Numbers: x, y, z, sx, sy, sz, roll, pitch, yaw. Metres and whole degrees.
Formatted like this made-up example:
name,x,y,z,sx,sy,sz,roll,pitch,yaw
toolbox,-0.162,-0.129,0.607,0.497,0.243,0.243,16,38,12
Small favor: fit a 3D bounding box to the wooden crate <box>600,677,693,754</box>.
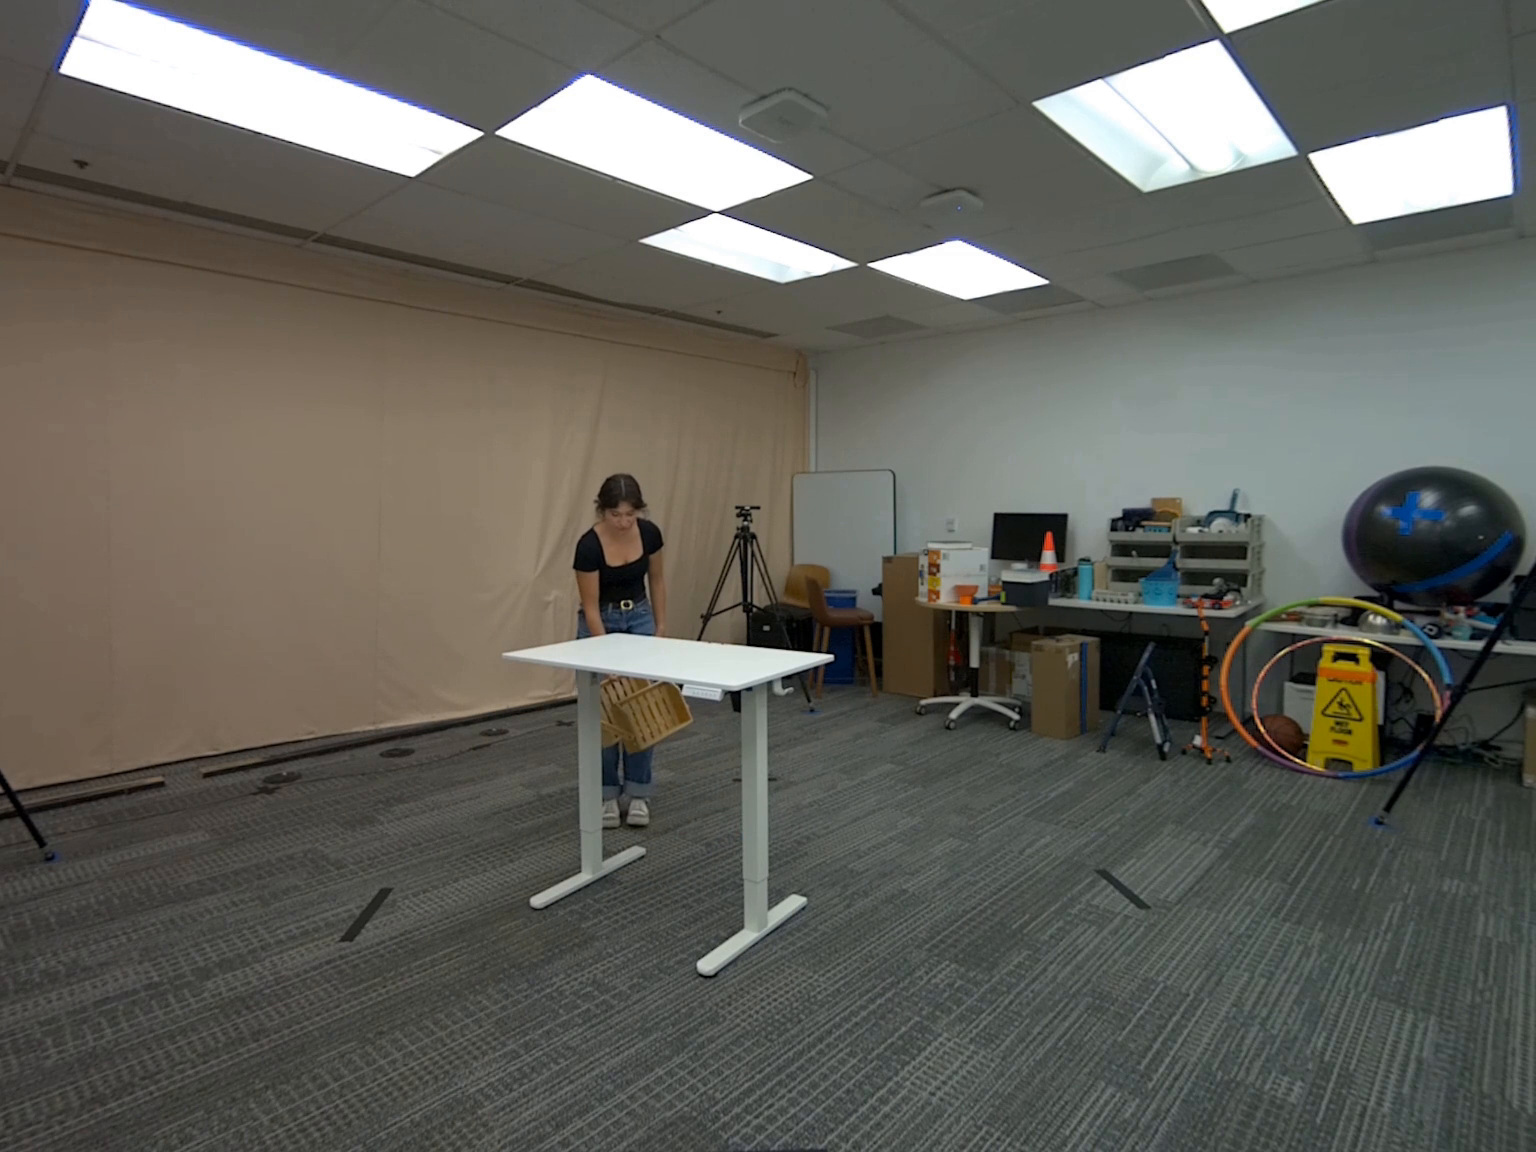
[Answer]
name,x,y,z,sx,sy,sz,roll,pitch,yaw
wooden crate,-0.546,0.541,3.480,0.279,0.303,0.317,-25,-3,42
